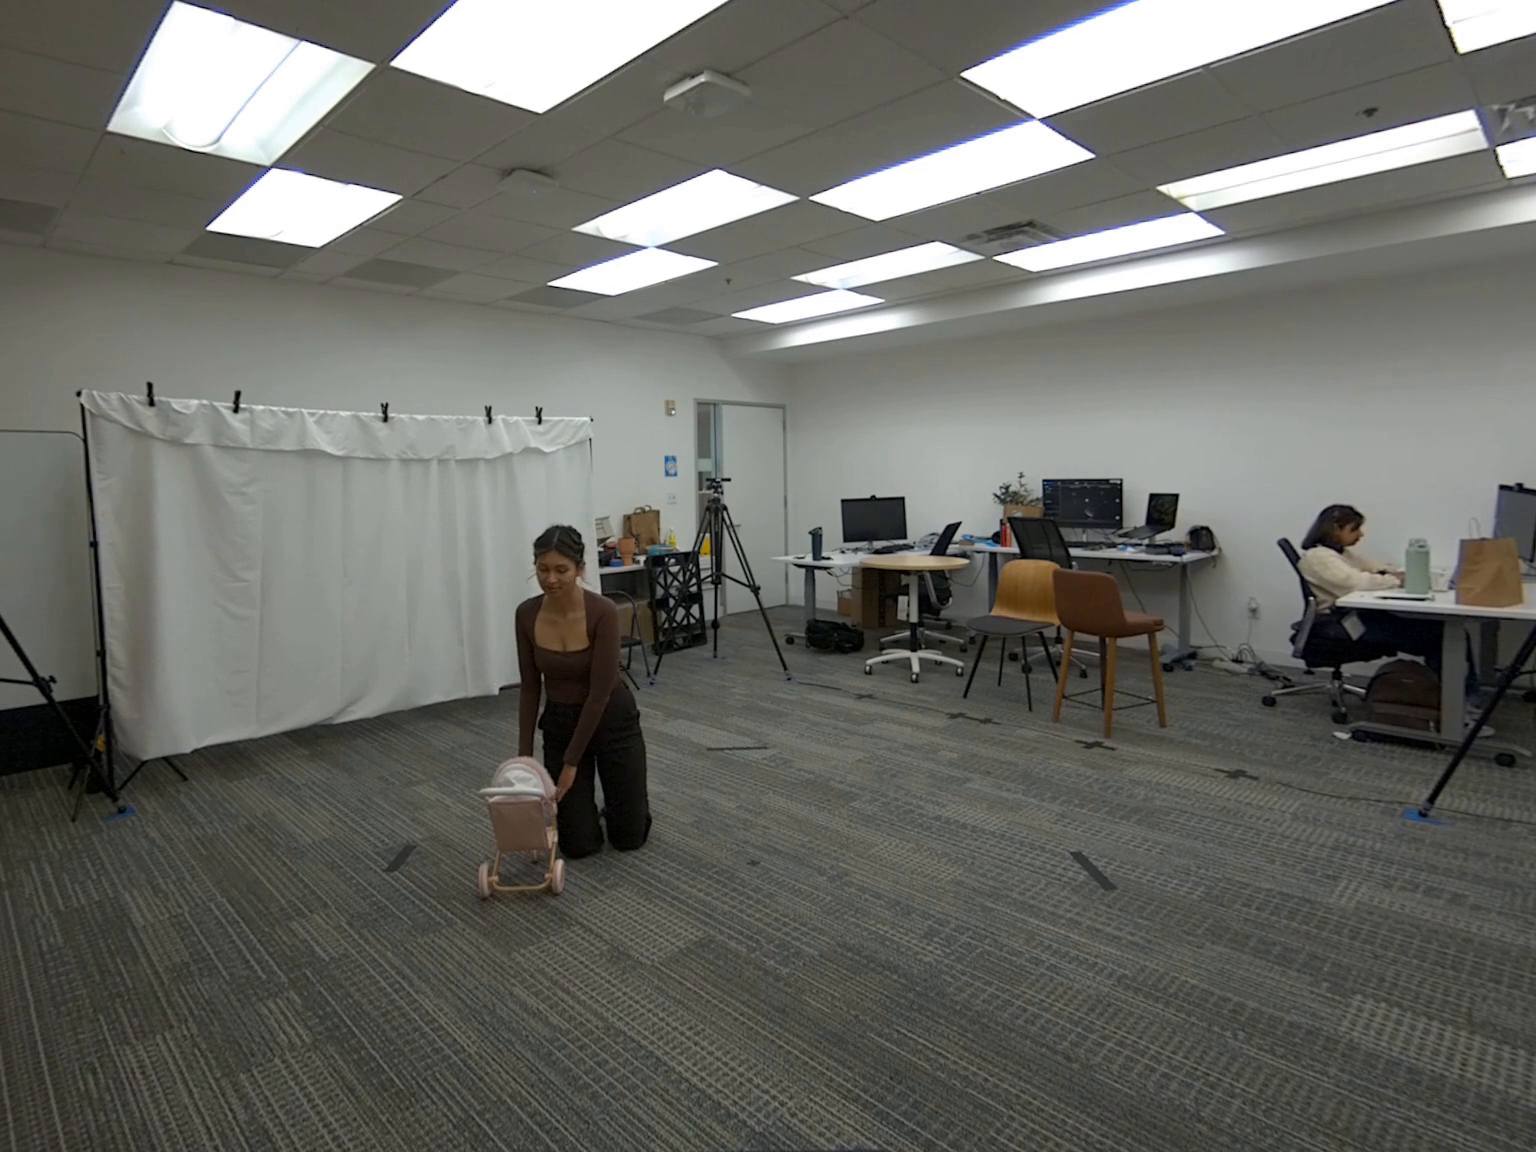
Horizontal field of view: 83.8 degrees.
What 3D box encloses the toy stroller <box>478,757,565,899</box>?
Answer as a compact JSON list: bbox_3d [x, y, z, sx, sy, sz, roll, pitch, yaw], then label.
[{"bbox_3d":[-0.850,0.859,2.950,0.281,0.525,0.348,-1,21,-2],"label":"toy stroller"}]
